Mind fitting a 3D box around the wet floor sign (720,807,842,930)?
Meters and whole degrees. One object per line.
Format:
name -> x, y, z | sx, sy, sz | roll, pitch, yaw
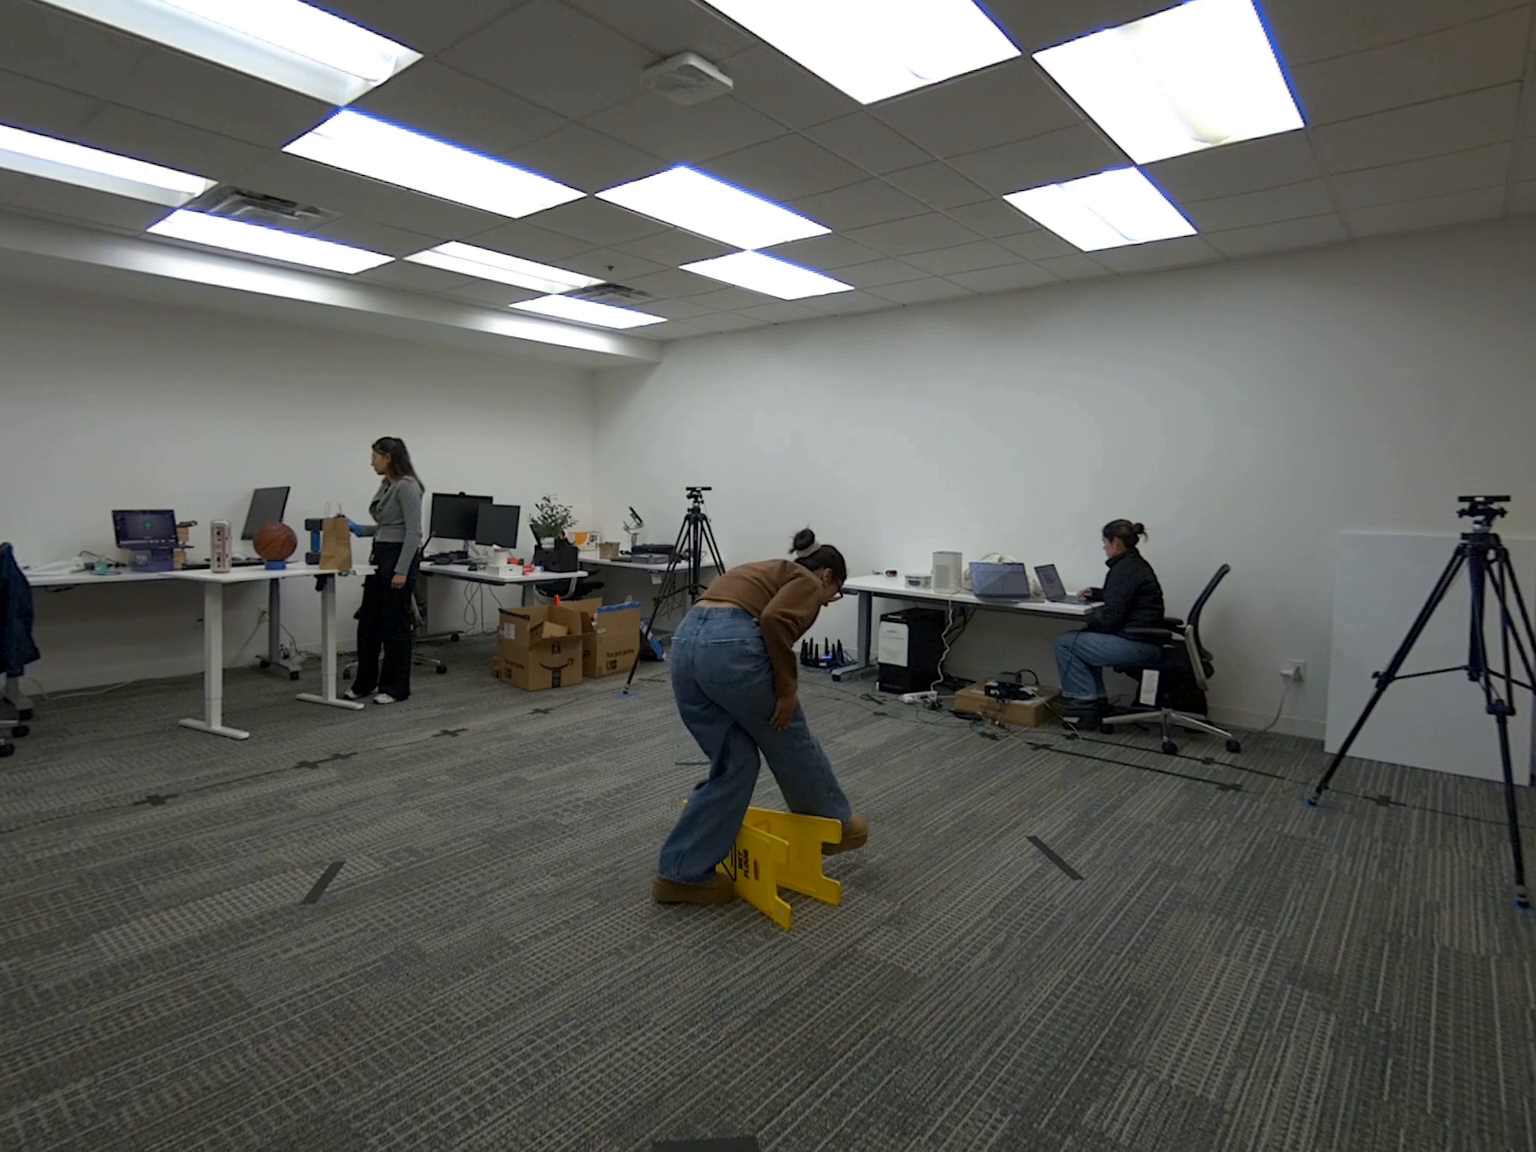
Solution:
wet floor sign -> -0.090, 0.954, 2.988 | 0.667, 0.282, 0.281 | 3, 3, 44
